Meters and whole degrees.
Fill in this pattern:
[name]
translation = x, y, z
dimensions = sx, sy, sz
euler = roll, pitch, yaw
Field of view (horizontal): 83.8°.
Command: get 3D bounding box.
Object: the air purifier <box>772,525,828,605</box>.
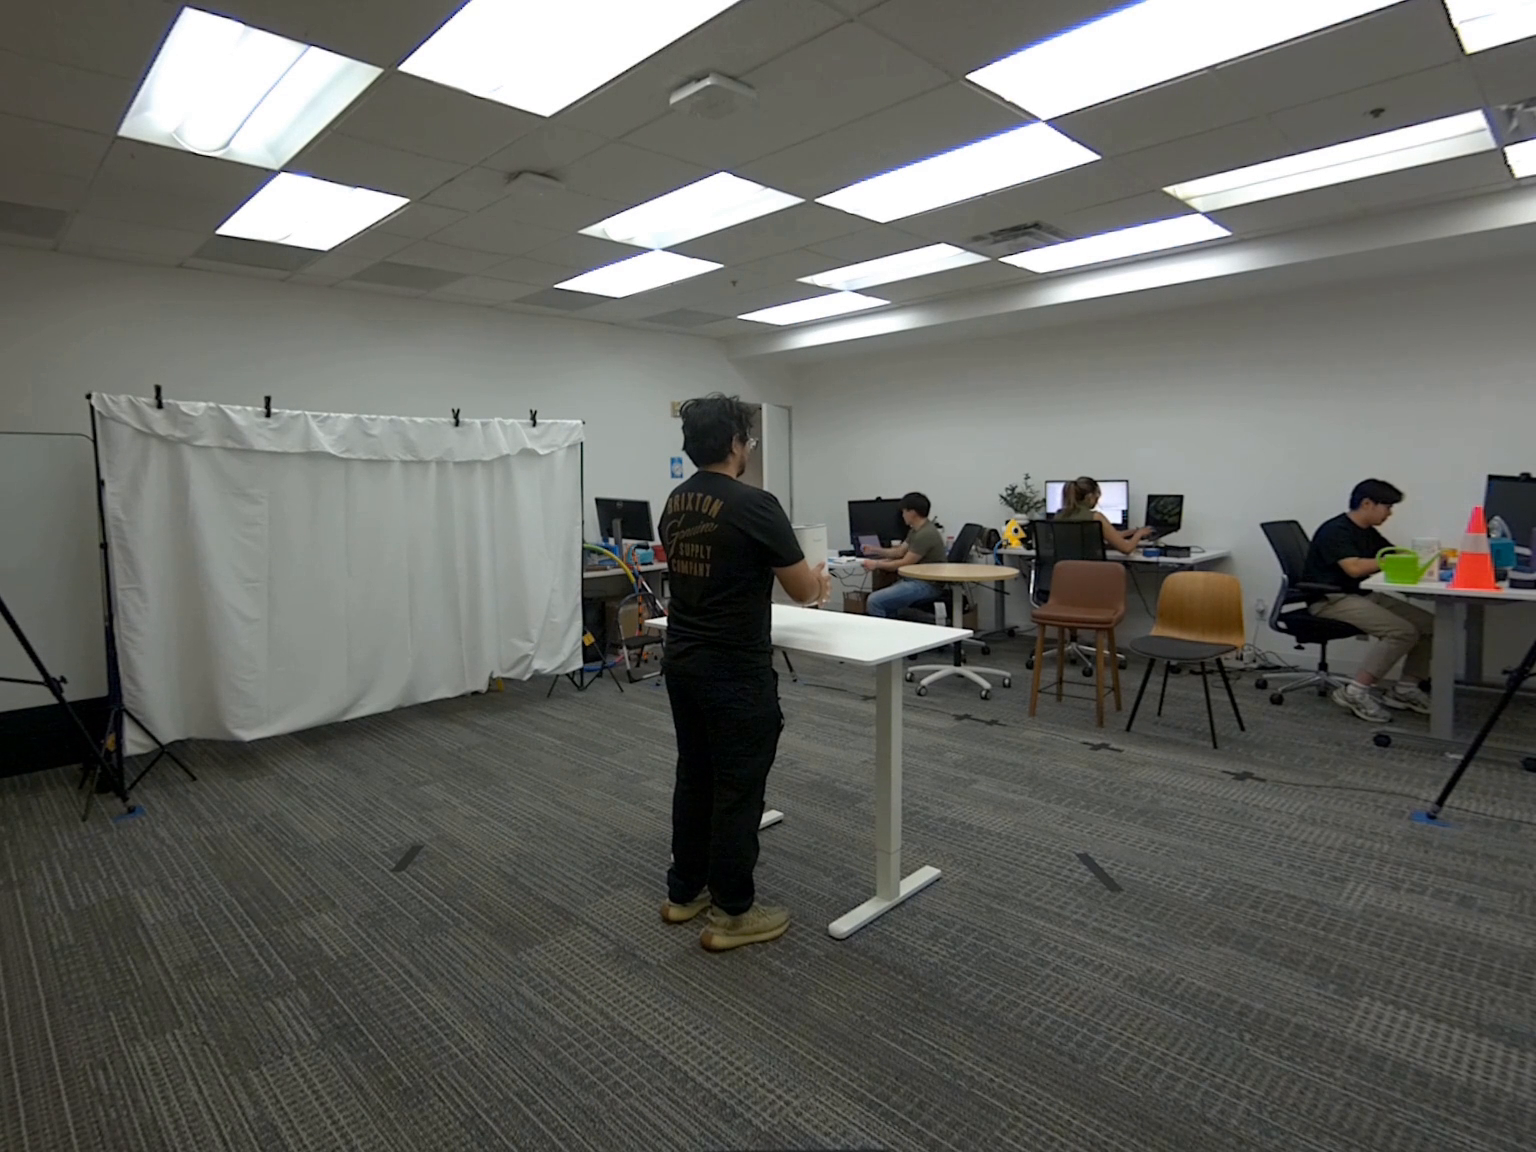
[air purifier]
translation = 0.111, -0.038, 2.892
dimensions = 0.177, 0.264, 0.167
euler = 4, 7, 40
